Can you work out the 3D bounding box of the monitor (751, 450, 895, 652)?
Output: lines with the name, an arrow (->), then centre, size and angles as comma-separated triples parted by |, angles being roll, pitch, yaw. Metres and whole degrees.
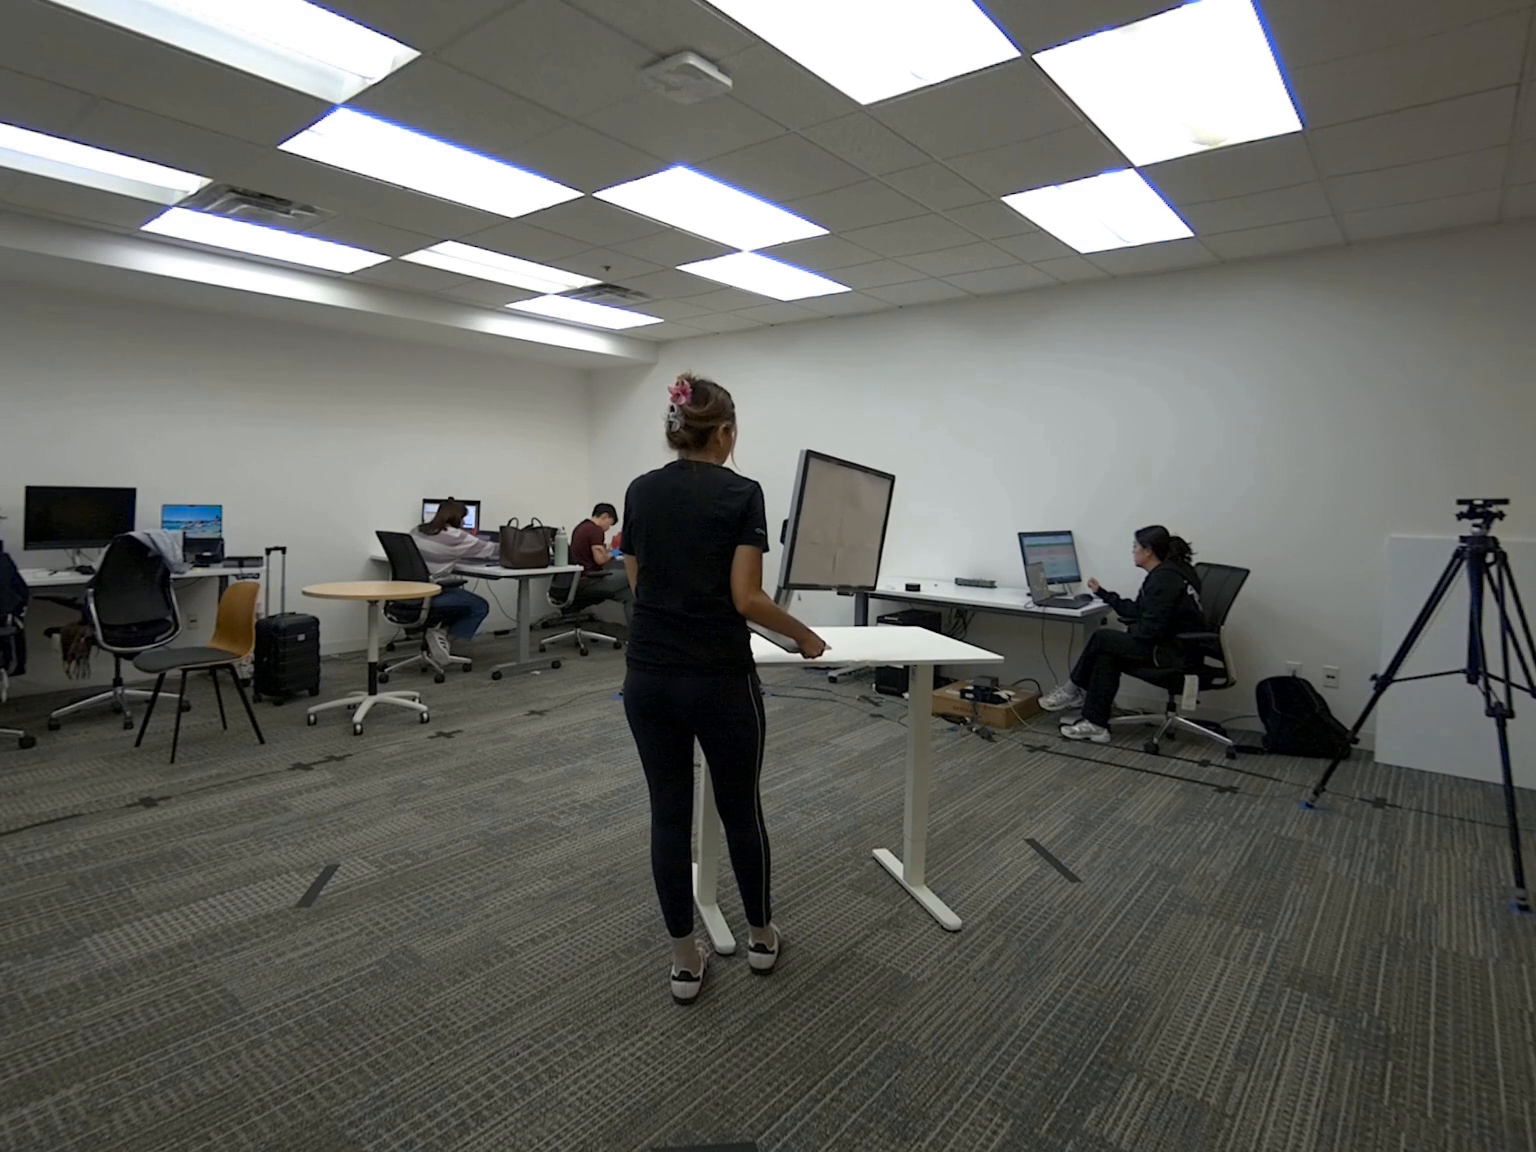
monitor -> 0.143, -0.069, 2.428 | 0.194, 0.520, 0.523 | 25, 11, 29
